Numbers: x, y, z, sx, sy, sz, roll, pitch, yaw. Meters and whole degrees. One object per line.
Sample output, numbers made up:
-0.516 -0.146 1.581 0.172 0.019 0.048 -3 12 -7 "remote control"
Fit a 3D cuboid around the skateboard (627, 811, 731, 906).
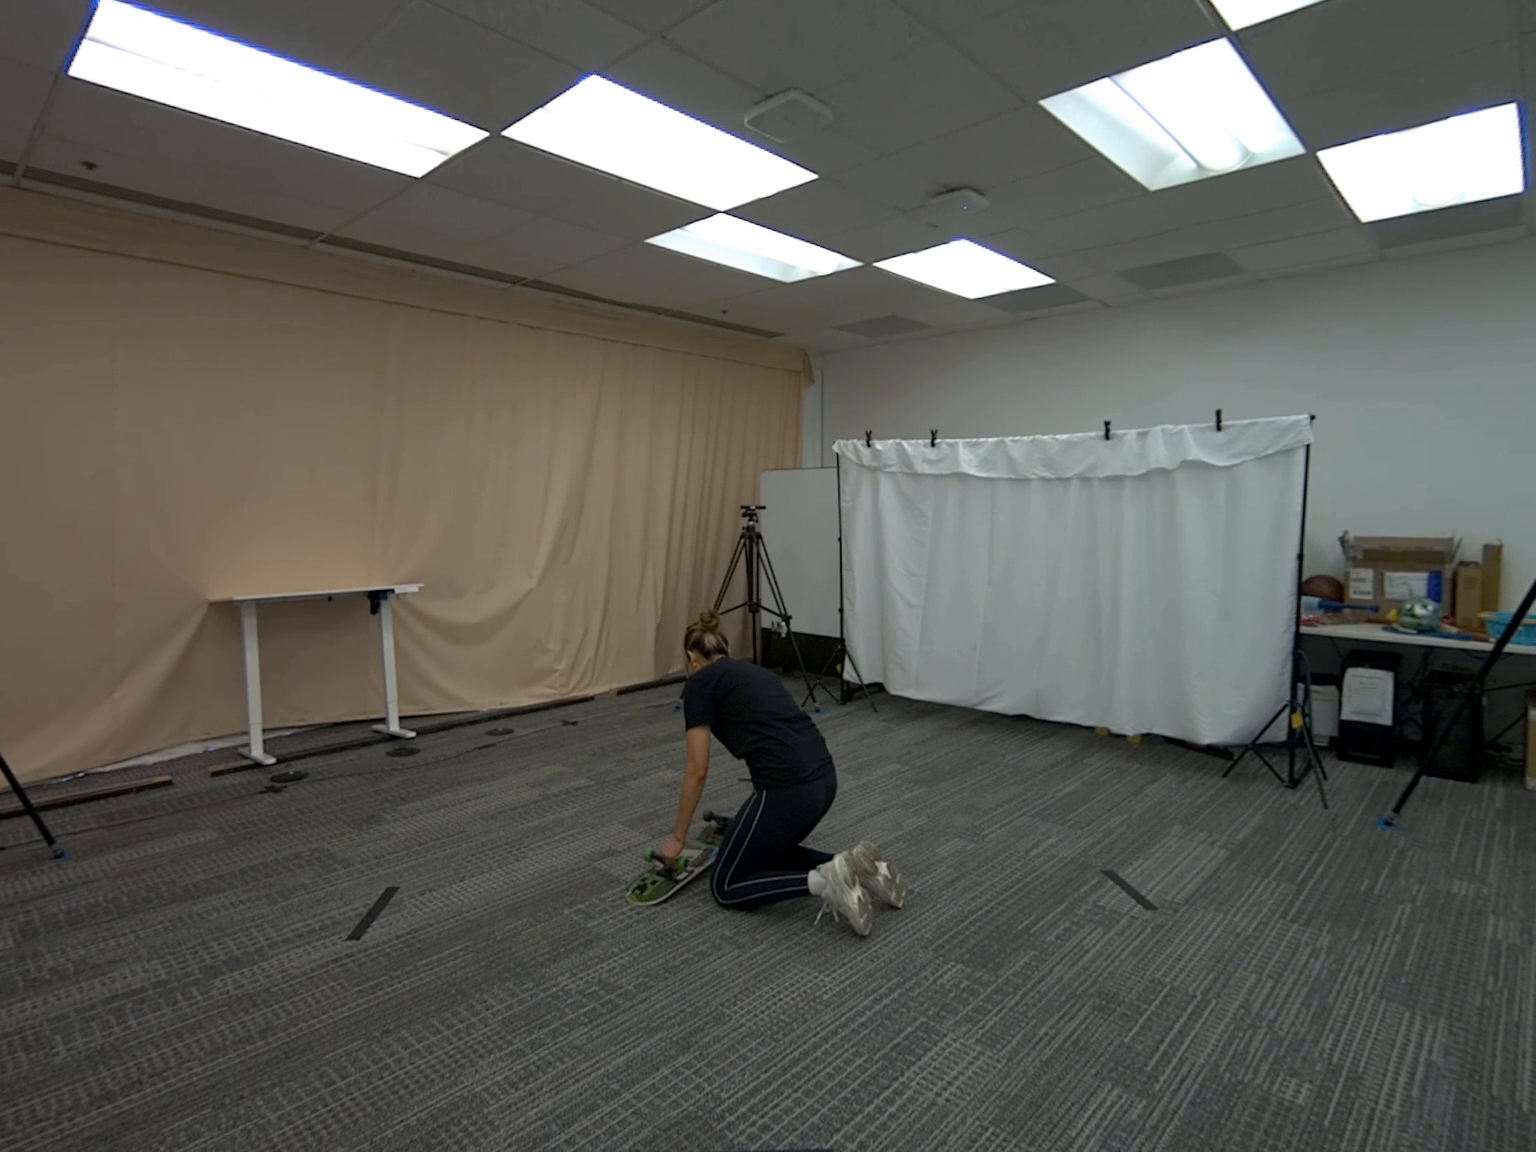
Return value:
-0.276 1.049 3.267 0.199 0.110 0.766 0 7 30 "skateboard"
